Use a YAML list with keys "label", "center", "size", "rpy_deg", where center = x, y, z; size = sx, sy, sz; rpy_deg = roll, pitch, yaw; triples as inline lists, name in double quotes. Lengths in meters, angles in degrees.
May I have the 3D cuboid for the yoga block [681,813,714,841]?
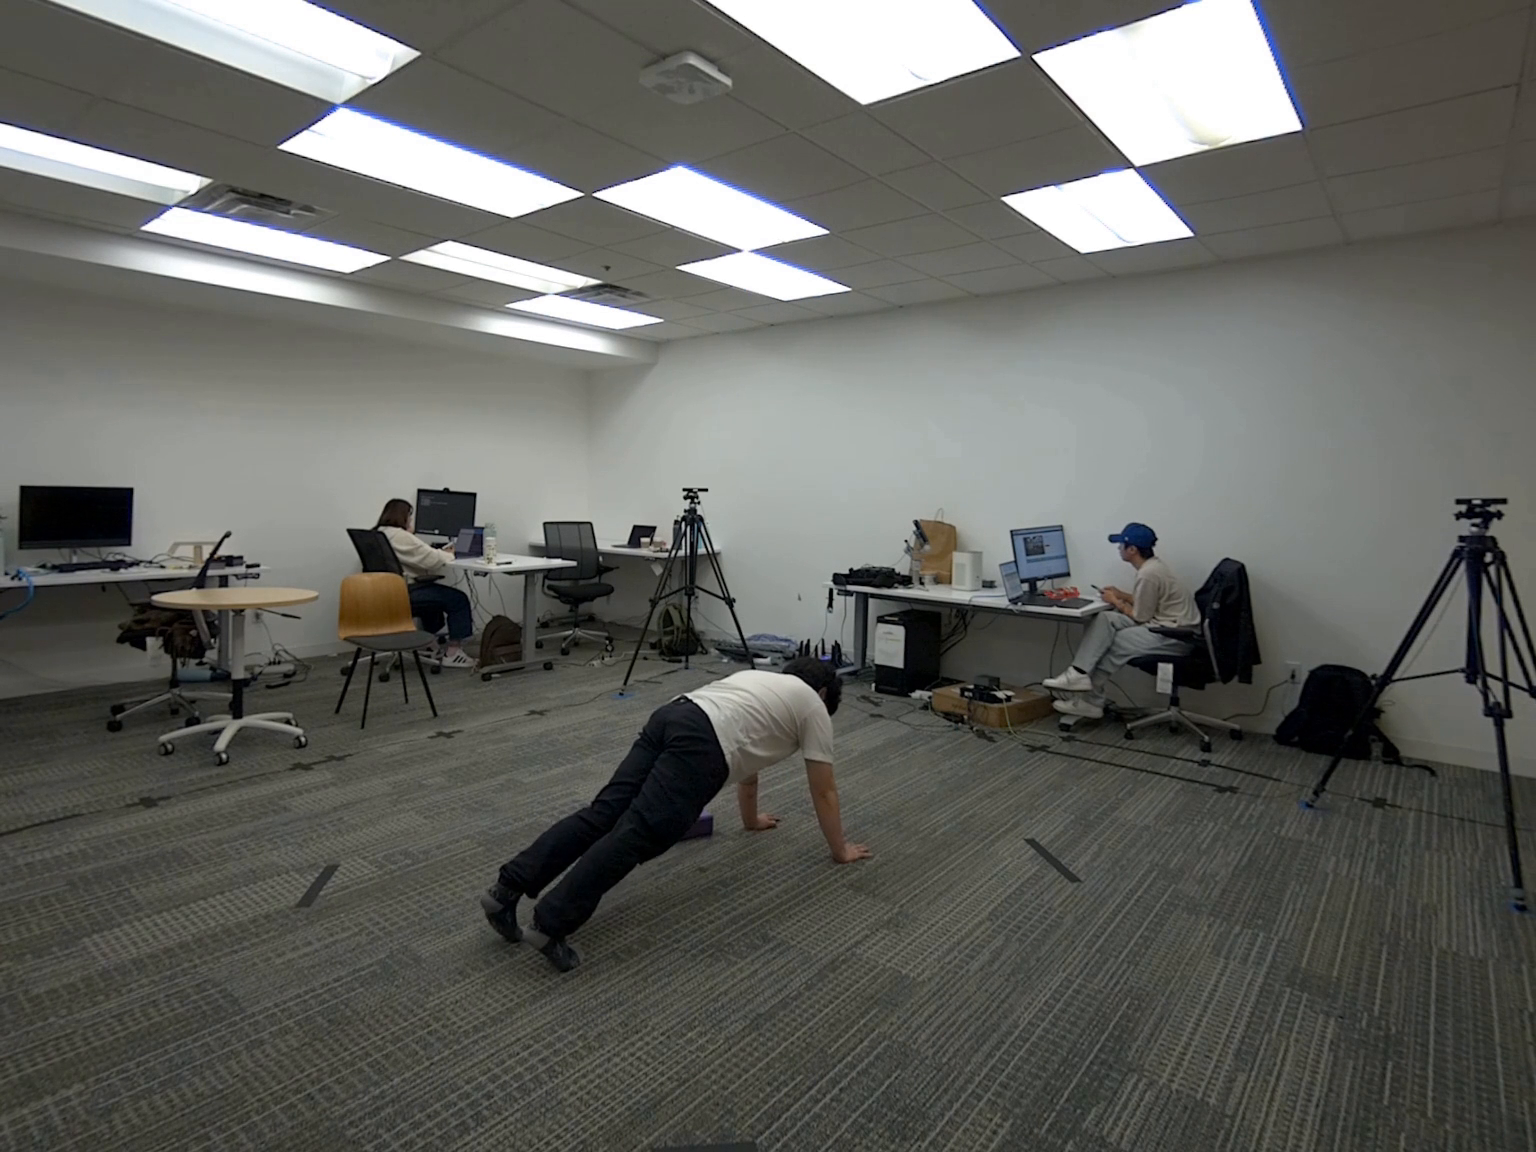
- label: "yoga block"
  center: [-0.359, 0.990, 3.442]
  size: [0.223, 0.076, 0.153]
  rpy_deg: [-2, 7, -29]
